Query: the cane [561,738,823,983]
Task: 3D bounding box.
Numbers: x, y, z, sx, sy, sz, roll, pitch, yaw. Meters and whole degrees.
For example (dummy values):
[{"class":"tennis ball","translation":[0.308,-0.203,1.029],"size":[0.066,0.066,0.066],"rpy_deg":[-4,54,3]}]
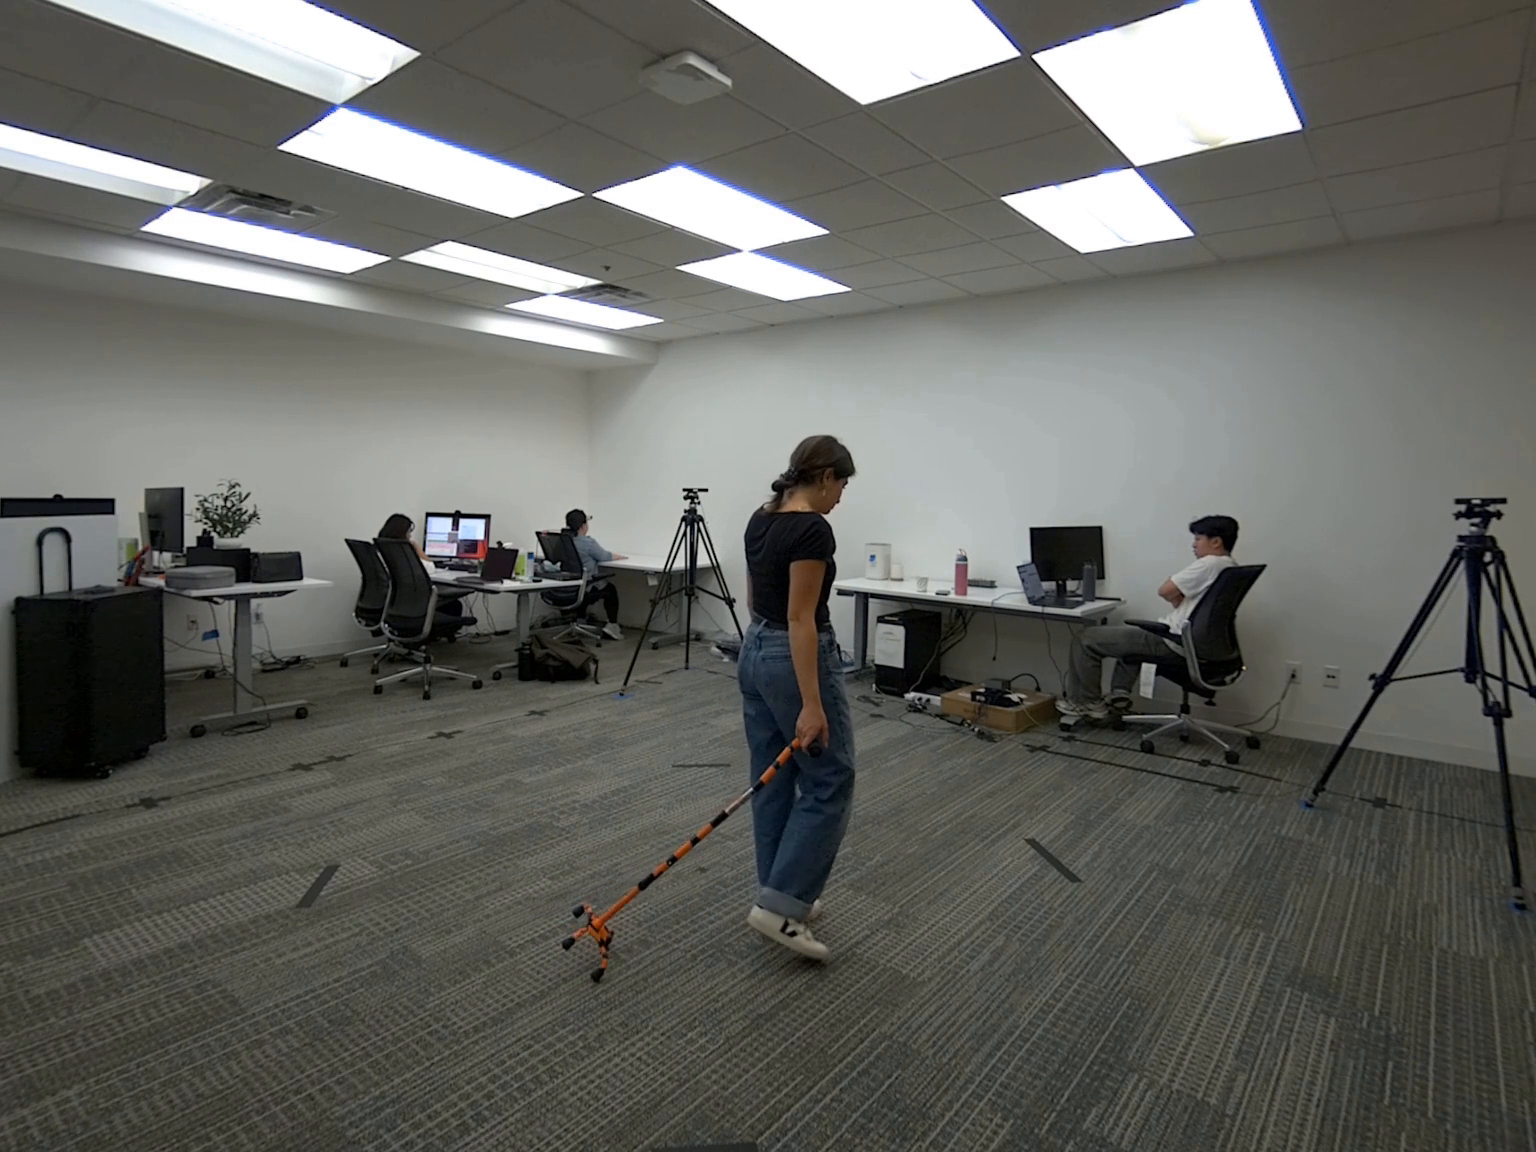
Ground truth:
[{"class":"cane","translation":[-0.202,0.774,2.451],"size":[0.908,0.151,0.207],"rpy_deg":[-42,5,4]}]
